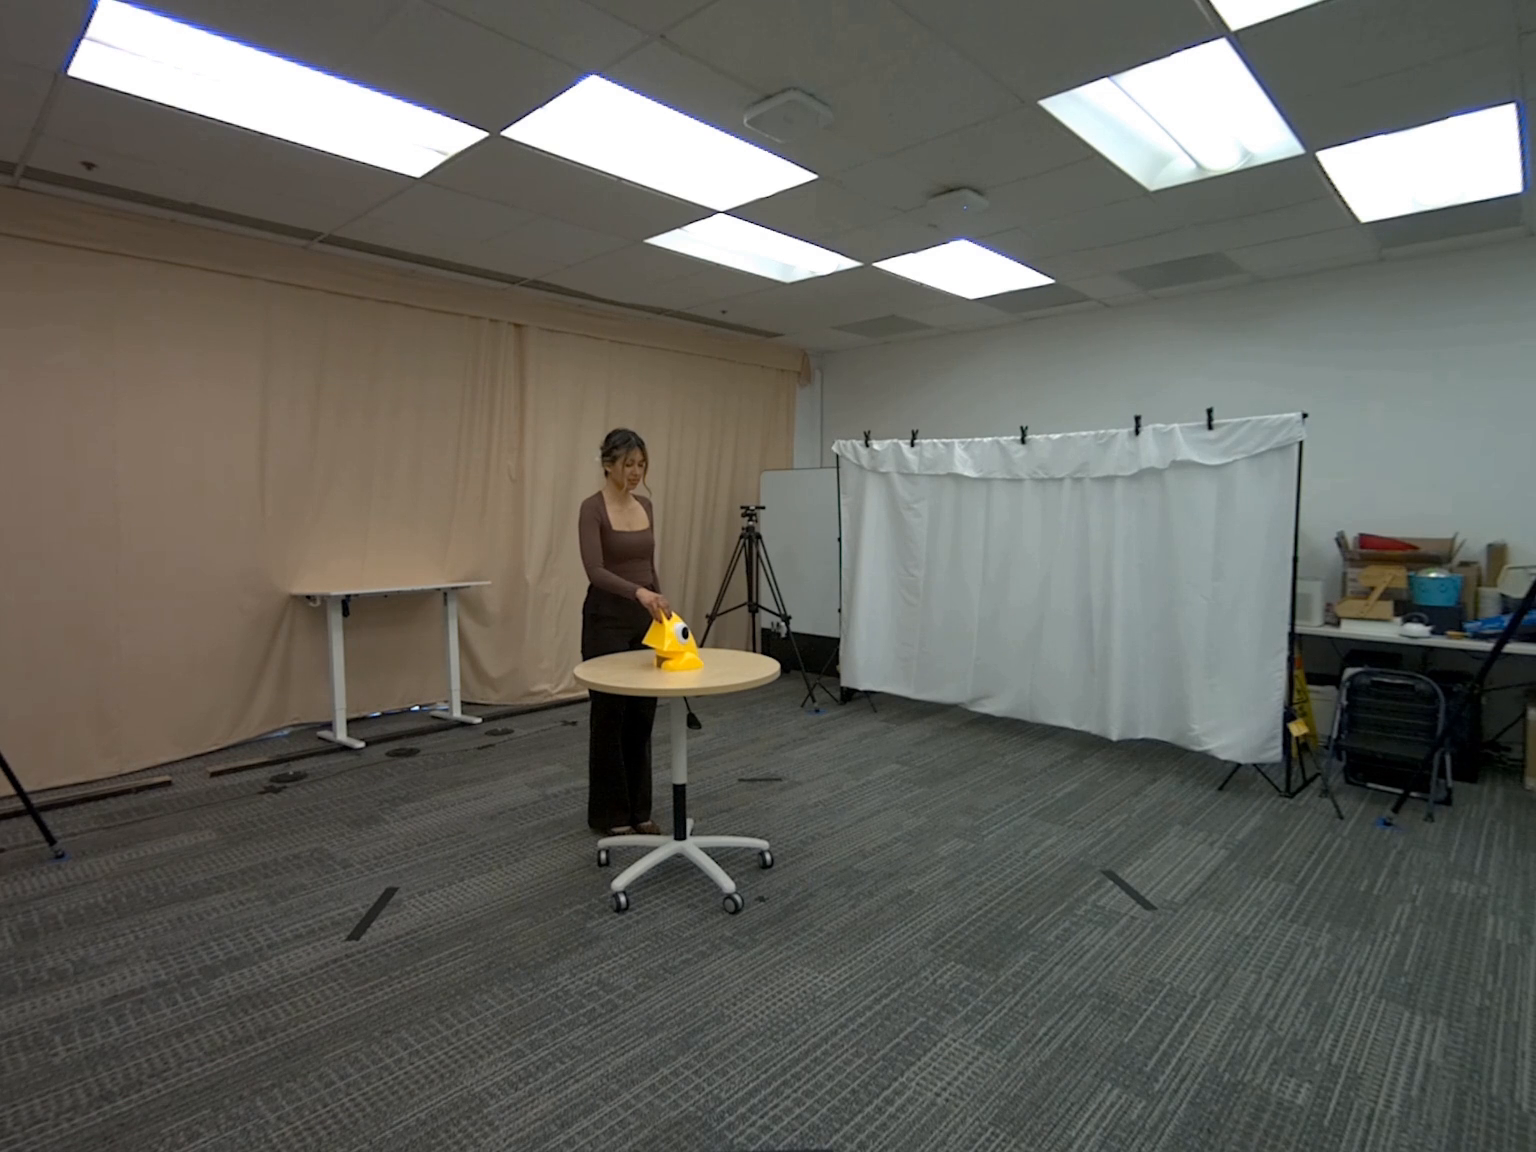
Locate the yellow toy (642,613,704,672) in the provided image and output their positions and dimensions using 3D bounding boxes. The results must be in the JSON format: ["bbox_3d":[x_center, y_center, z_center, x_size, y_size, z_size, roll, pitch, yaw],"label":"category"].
[{"bbox_3d":[-0.348,0.223,3.149,0.188,0.230,0.211,-2,4,-30],"label":"yellow toy"}]
